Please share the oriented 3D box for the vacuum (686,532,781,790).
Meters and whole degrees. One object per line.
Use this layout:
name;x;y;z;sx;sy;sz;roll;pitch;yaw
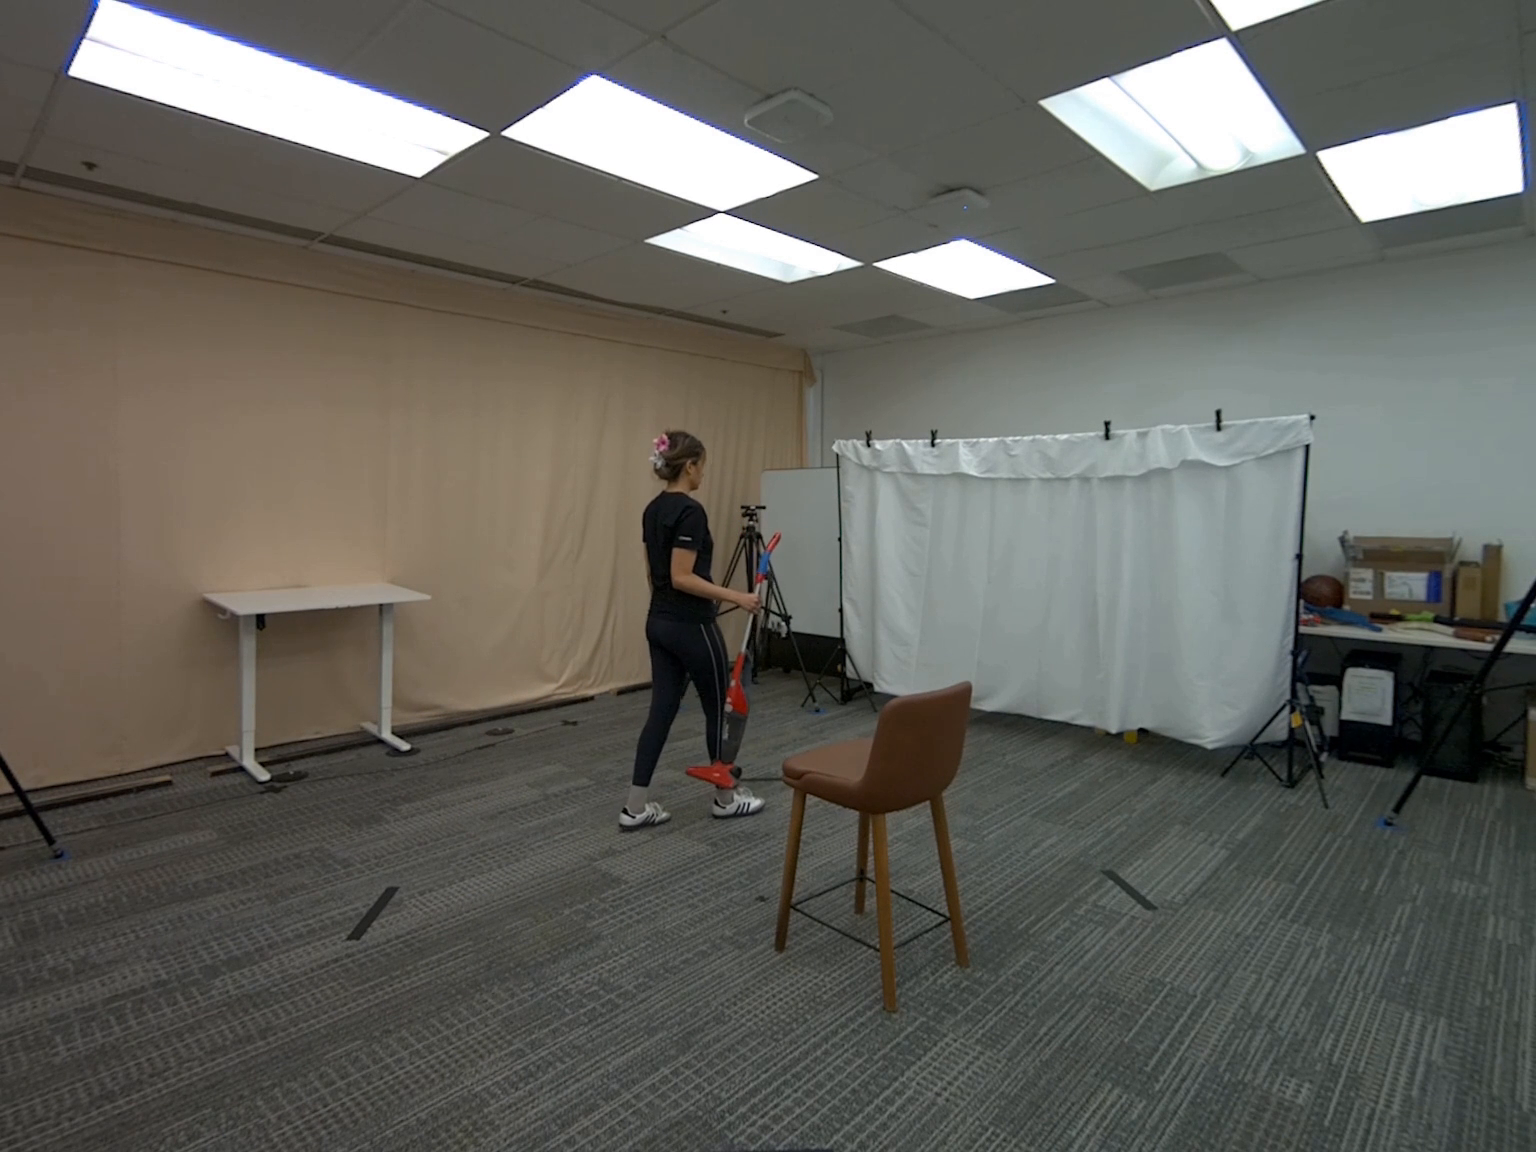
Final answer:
vacuum;-0.068;0.328;3.544;0.261;1.052;0.139;6;-11;39
